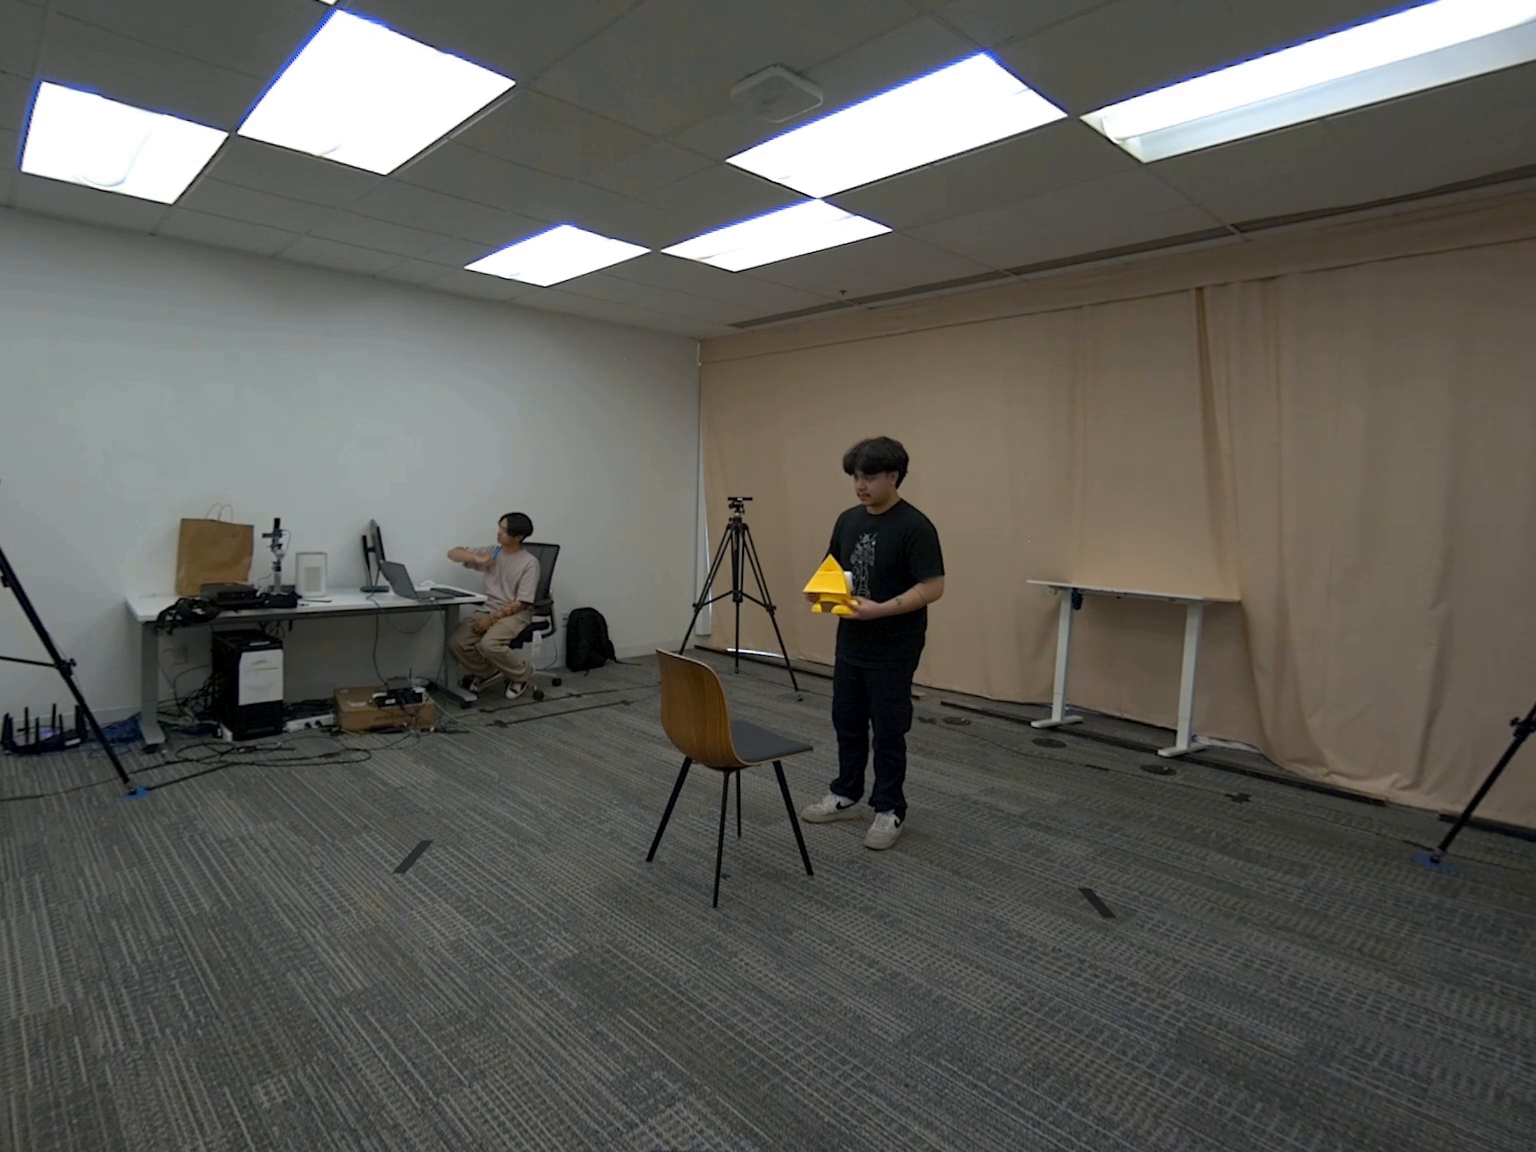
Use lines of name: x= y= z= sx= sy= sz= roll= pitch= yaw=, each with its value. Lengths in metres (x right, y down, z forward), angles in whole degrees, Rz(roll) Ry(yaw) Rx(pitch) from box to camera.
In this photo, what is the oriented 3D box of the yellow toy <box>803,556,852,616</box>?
yellow toy: x=0.271 y=0.036 z=3.374 sx=0.210 sy=0.231 sz=0.188 roll=2 pitch=-1 yaw=38
